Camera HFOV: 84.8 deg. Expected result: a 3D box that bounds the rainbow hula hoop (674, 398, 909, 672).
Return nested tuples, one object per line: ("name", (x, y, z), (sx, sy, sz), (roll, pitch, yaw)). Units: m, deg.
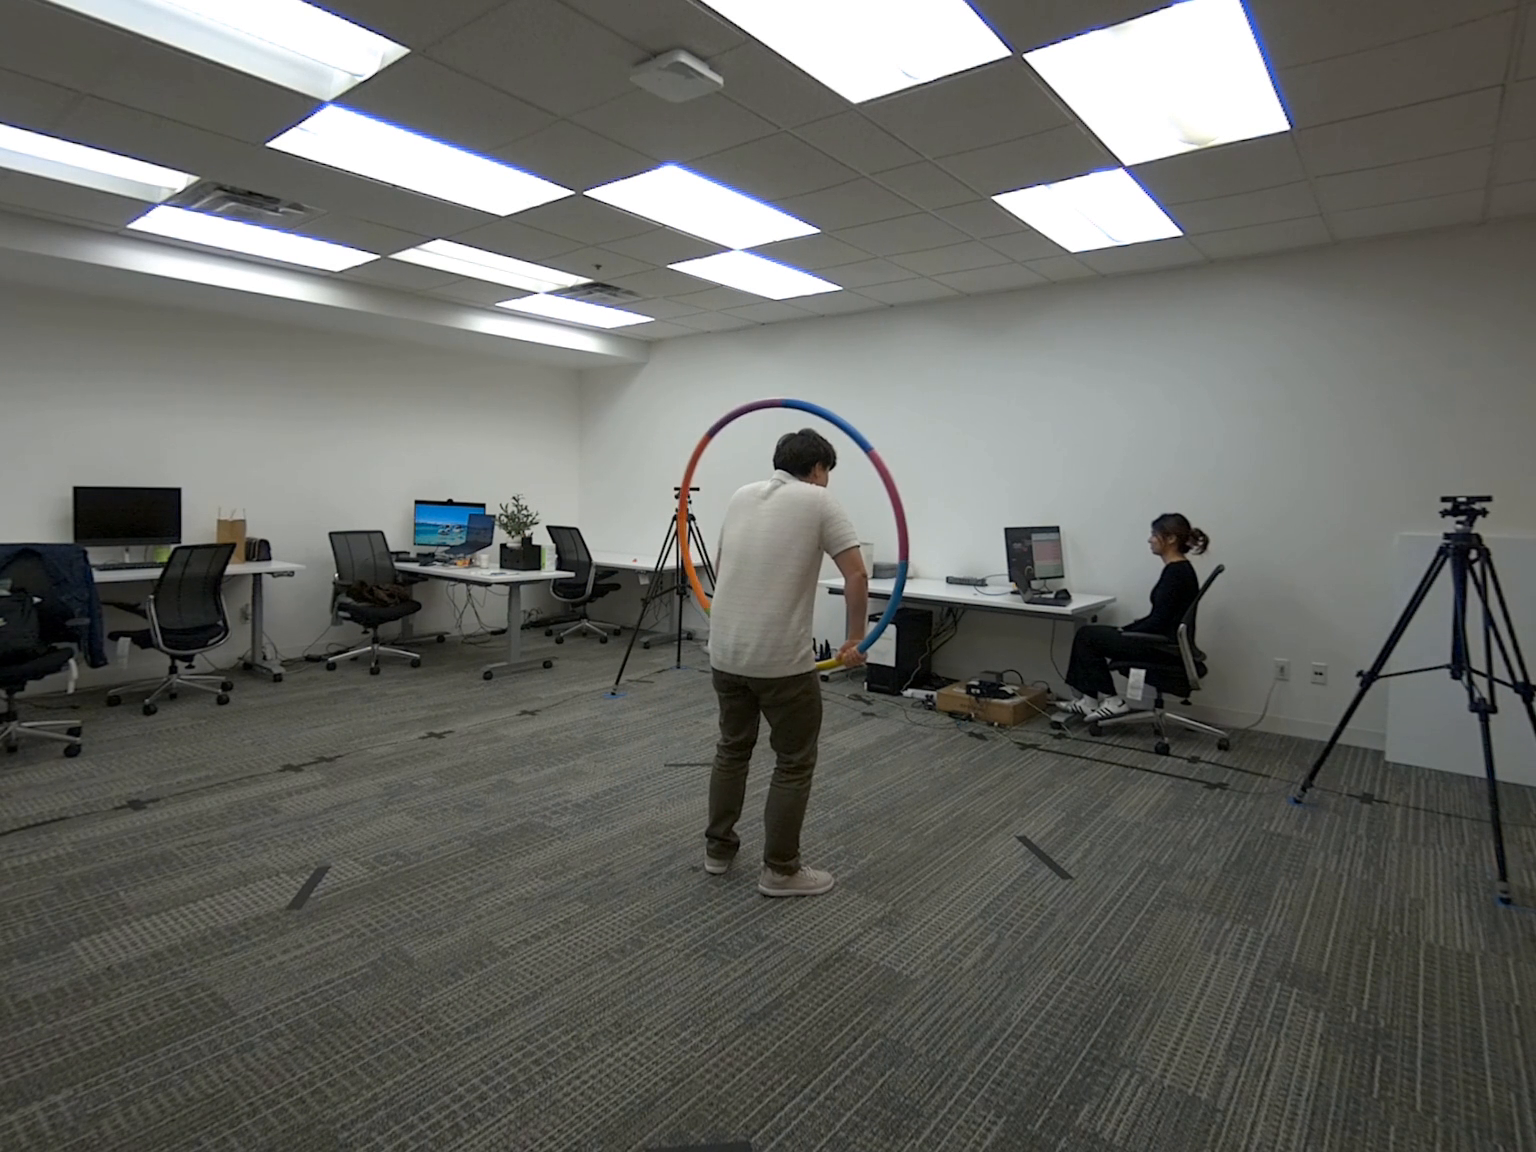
("rainbow hula hoop", (0.035, -0.114, 3.030), (1.011, 0.969, 0.035), (4, 12, 39))
